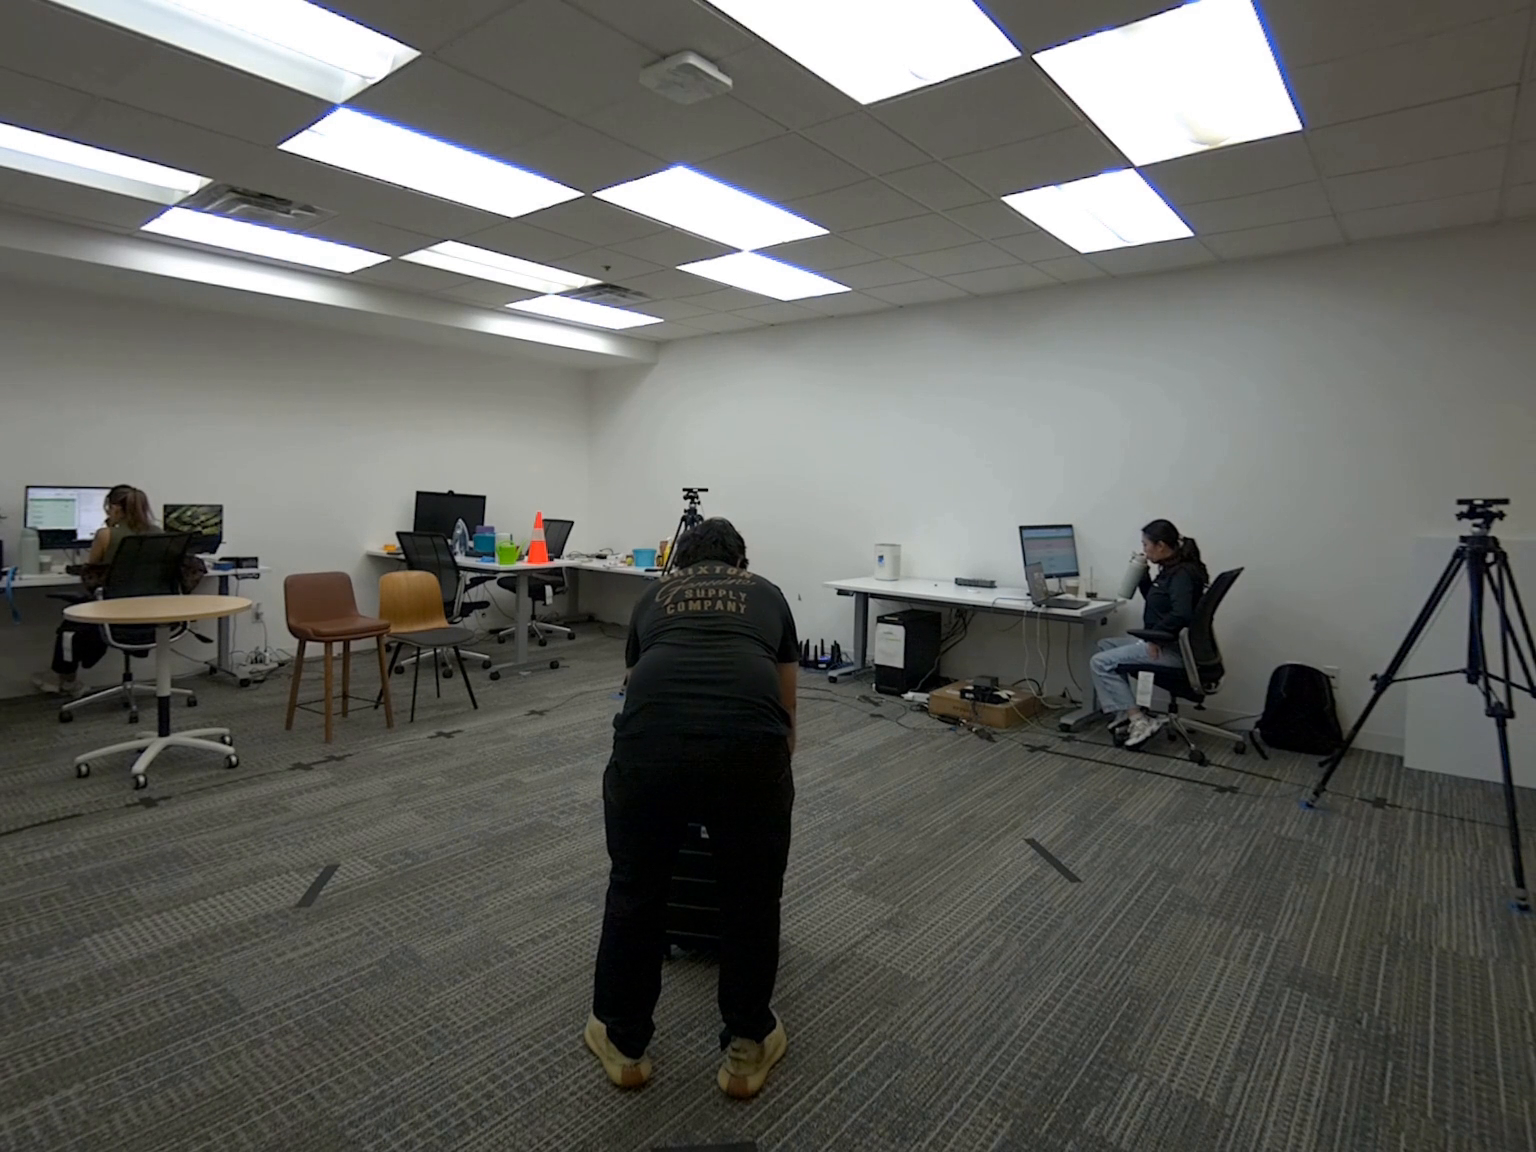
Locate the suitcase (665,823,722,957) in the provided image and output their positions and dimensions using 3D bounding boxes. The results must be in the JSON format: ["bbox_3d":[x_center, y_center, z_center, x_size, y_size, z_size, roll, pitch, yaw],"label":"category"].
[{"bbox_3d":[-0.149,0.847,2.554,0.379,0.546,0.247,2,6,9],"label":"suitcase"}]
